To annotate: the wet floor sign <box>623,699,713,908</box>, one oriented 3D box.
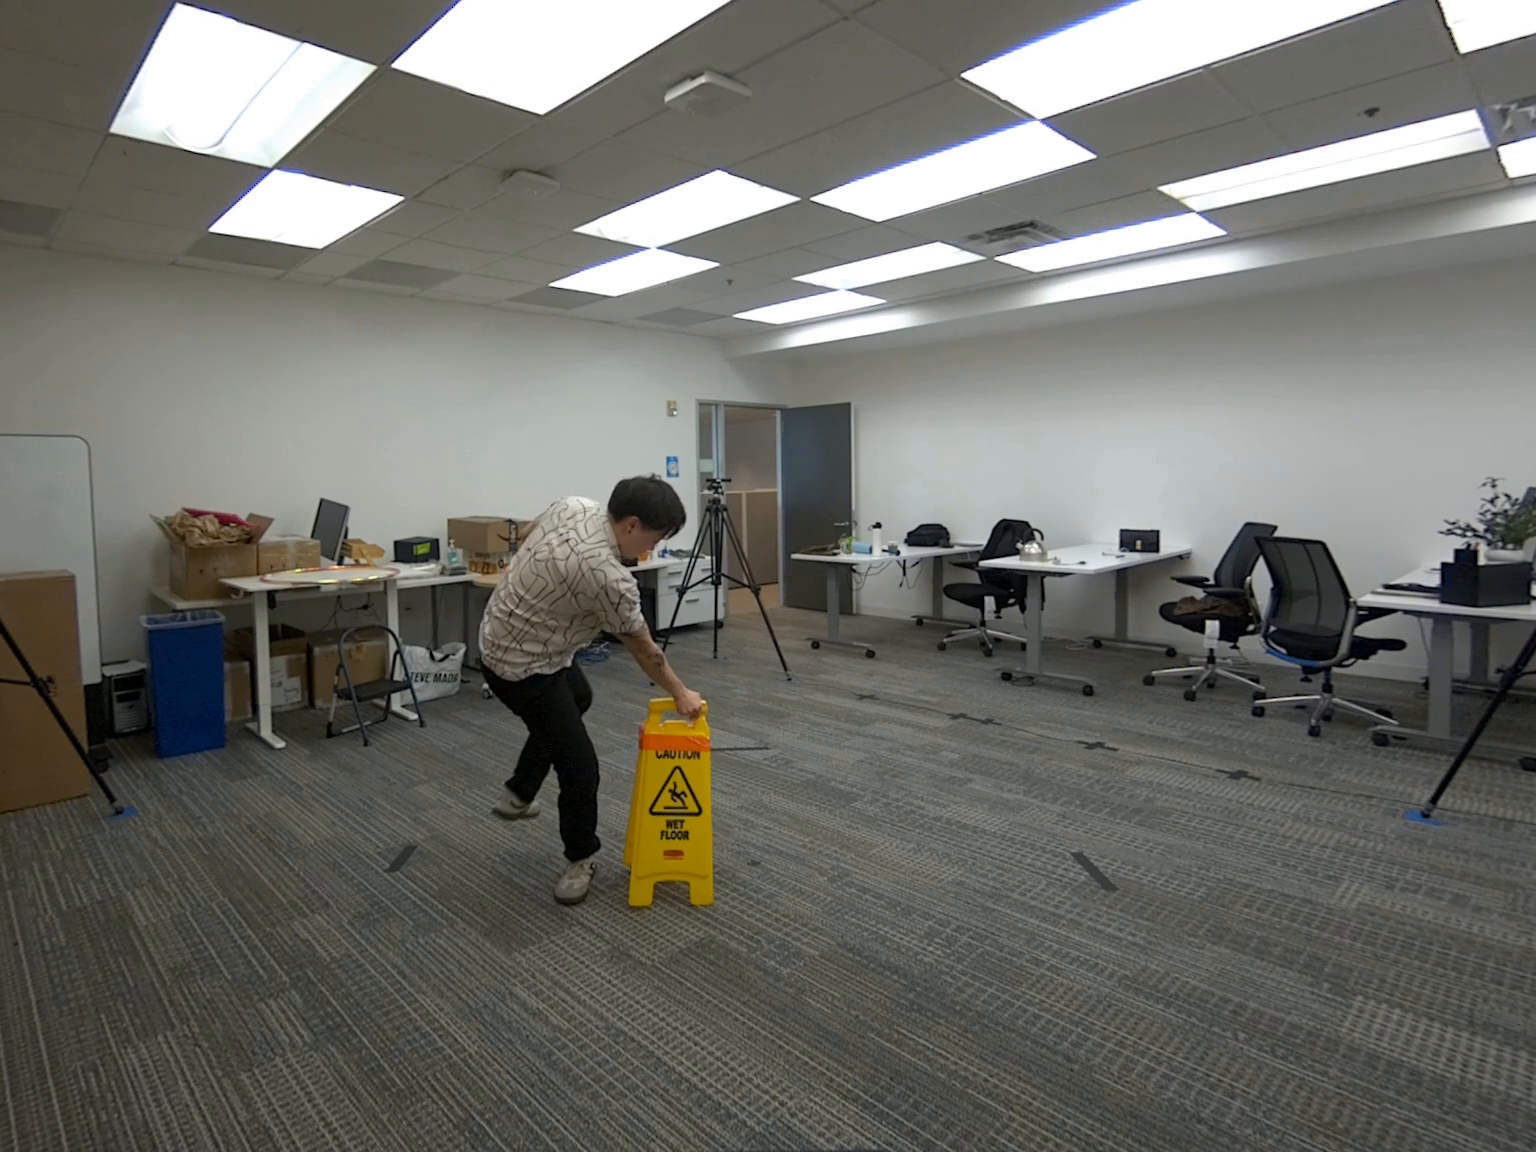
[{"bbox_3d":[-0.328,0.738,2.920,0.279,0.644,0.294,2,3,-12],"label":"wet floor sign"}]
